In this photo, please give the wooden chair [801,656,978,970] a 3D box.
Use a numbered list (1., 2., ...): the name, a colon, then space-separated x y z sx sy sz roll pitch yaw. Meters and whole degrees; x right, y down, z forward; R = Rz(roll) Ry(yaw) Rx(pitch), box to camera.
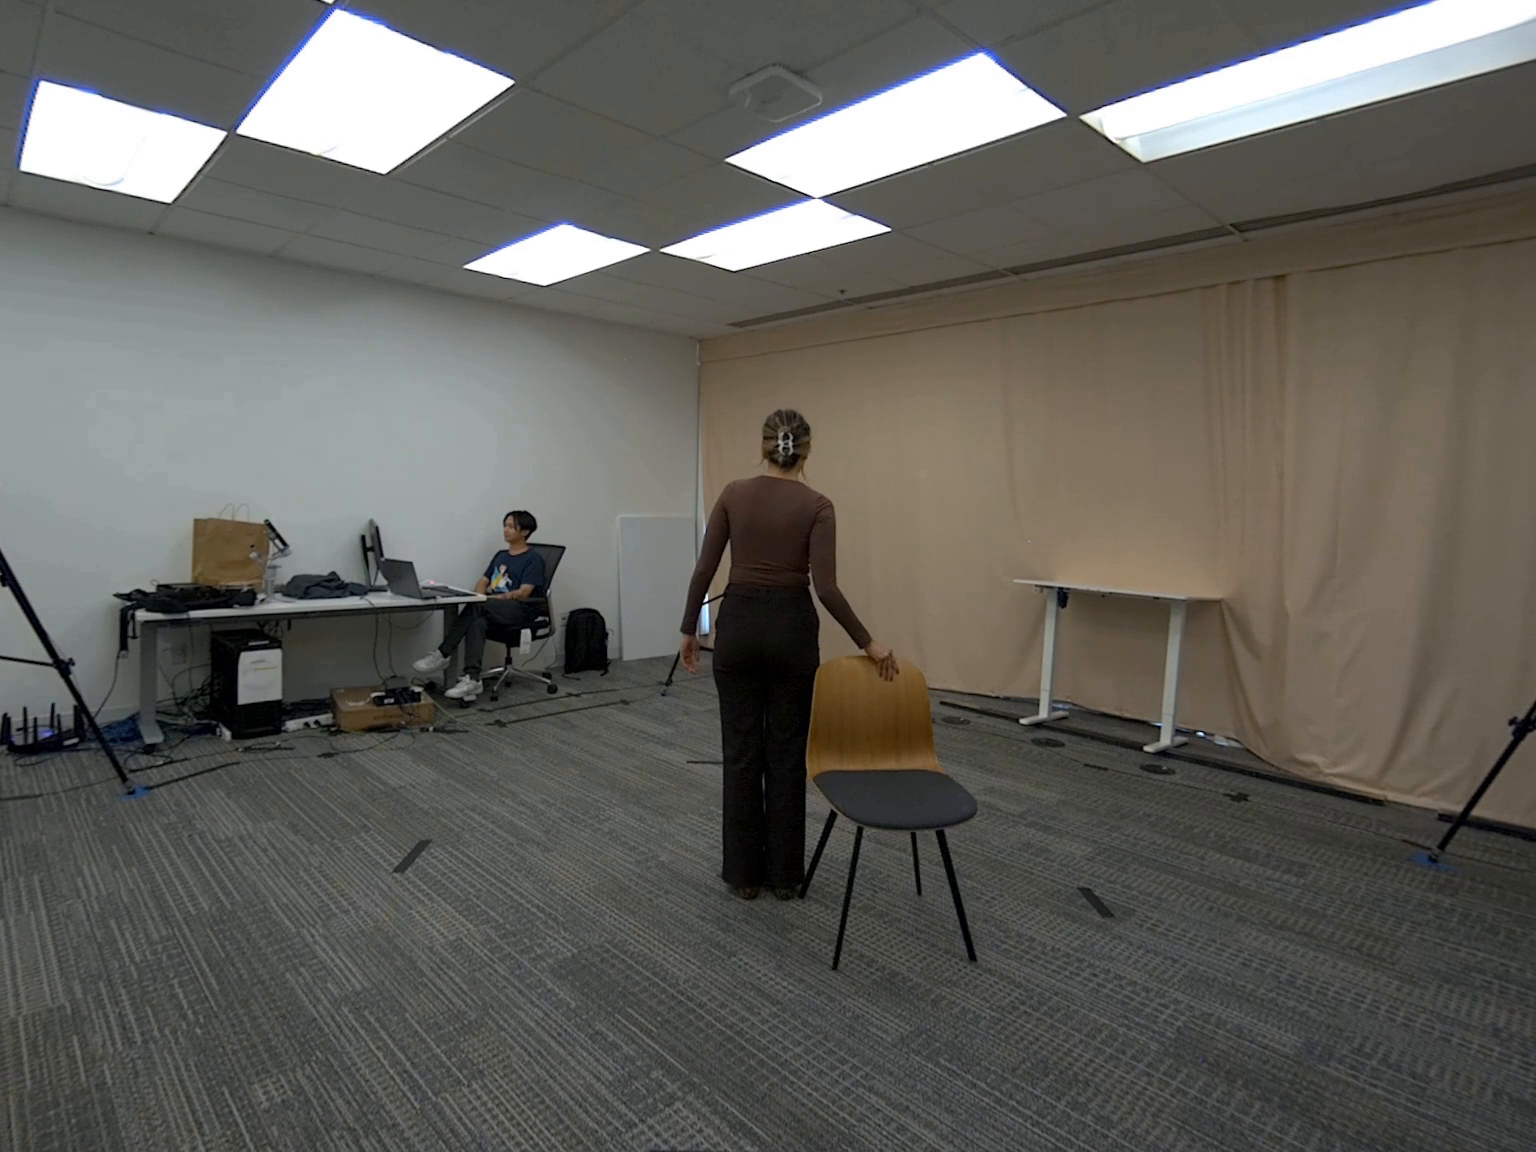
1. wooden chair: 0.375 0.726 2.716 0.474 0.878 0.527 2 -1 -10
